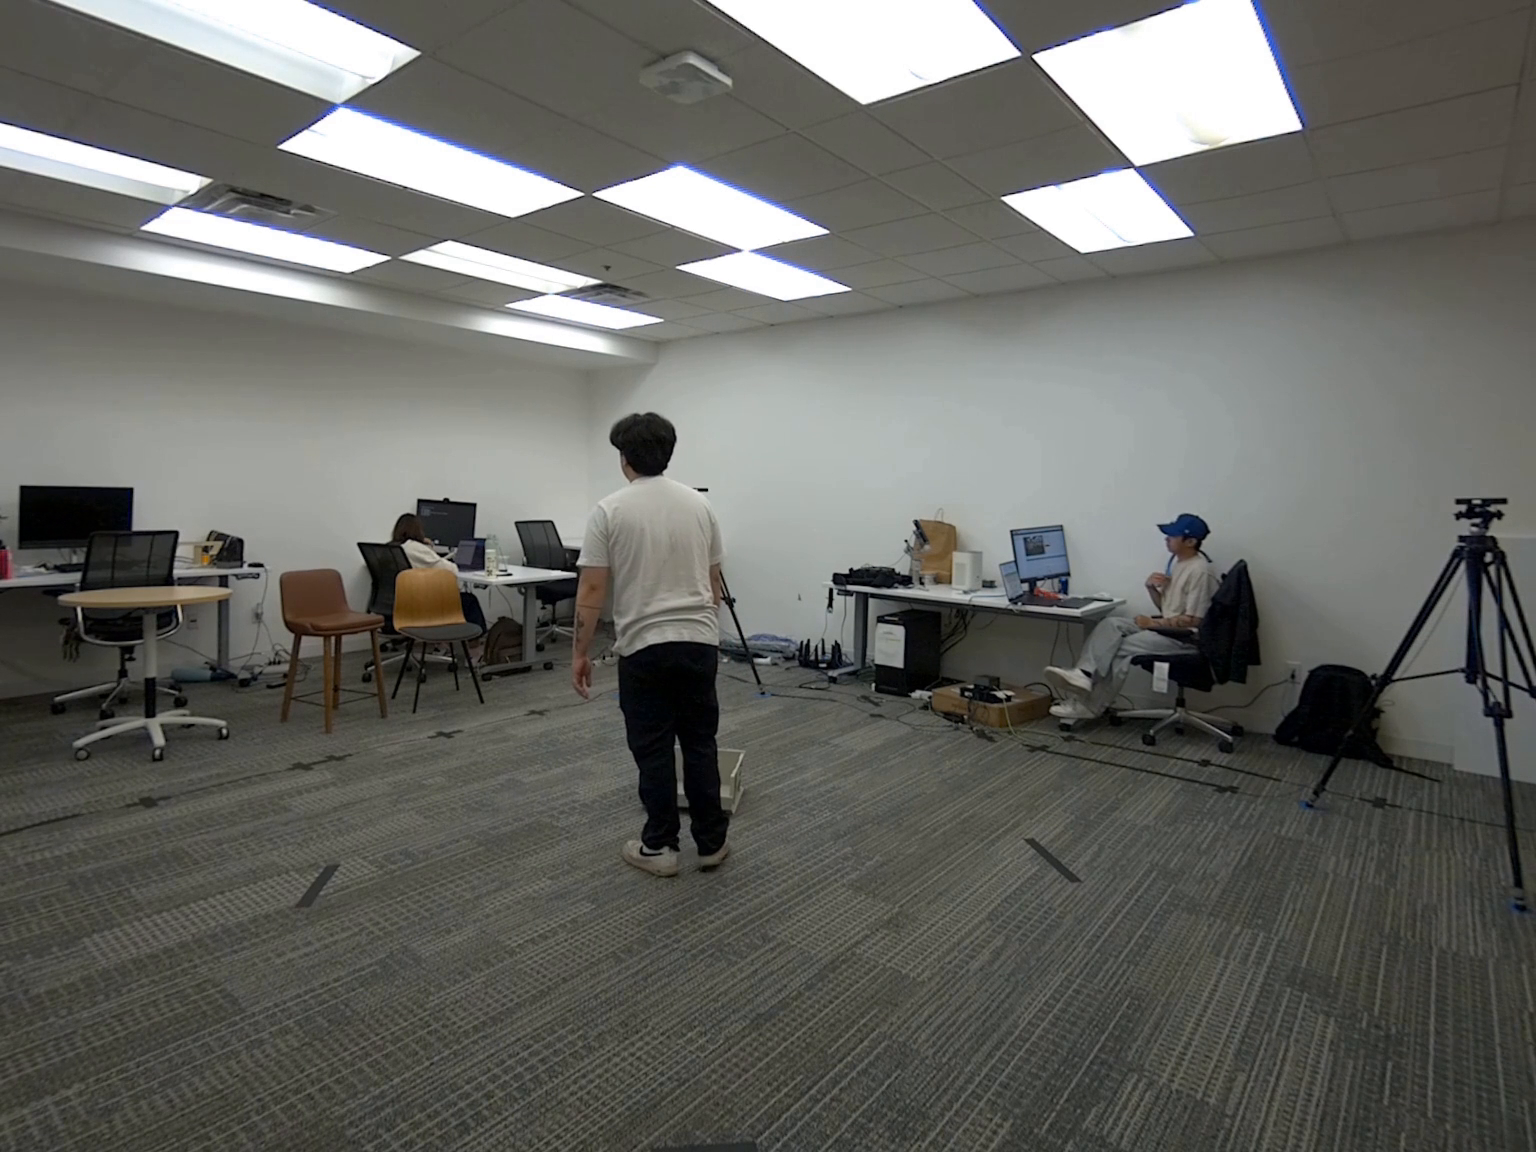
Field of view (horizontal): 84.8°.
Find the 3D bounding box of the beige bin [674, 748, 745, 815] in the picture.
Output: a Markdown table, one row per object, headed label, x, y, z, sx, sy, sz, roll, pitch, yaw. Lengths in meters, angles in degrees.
| label | x | y | z | sx | sy | sz | roll | pitch | yaw |
| --- | --- | --- | --- | --- | --- | --- | --- | --- | --- |
| beige bin | -0.343 | 0.908 | 3.808 | 0.426 | 0.188 | 0.375 | 1 | 4 | 7 |
